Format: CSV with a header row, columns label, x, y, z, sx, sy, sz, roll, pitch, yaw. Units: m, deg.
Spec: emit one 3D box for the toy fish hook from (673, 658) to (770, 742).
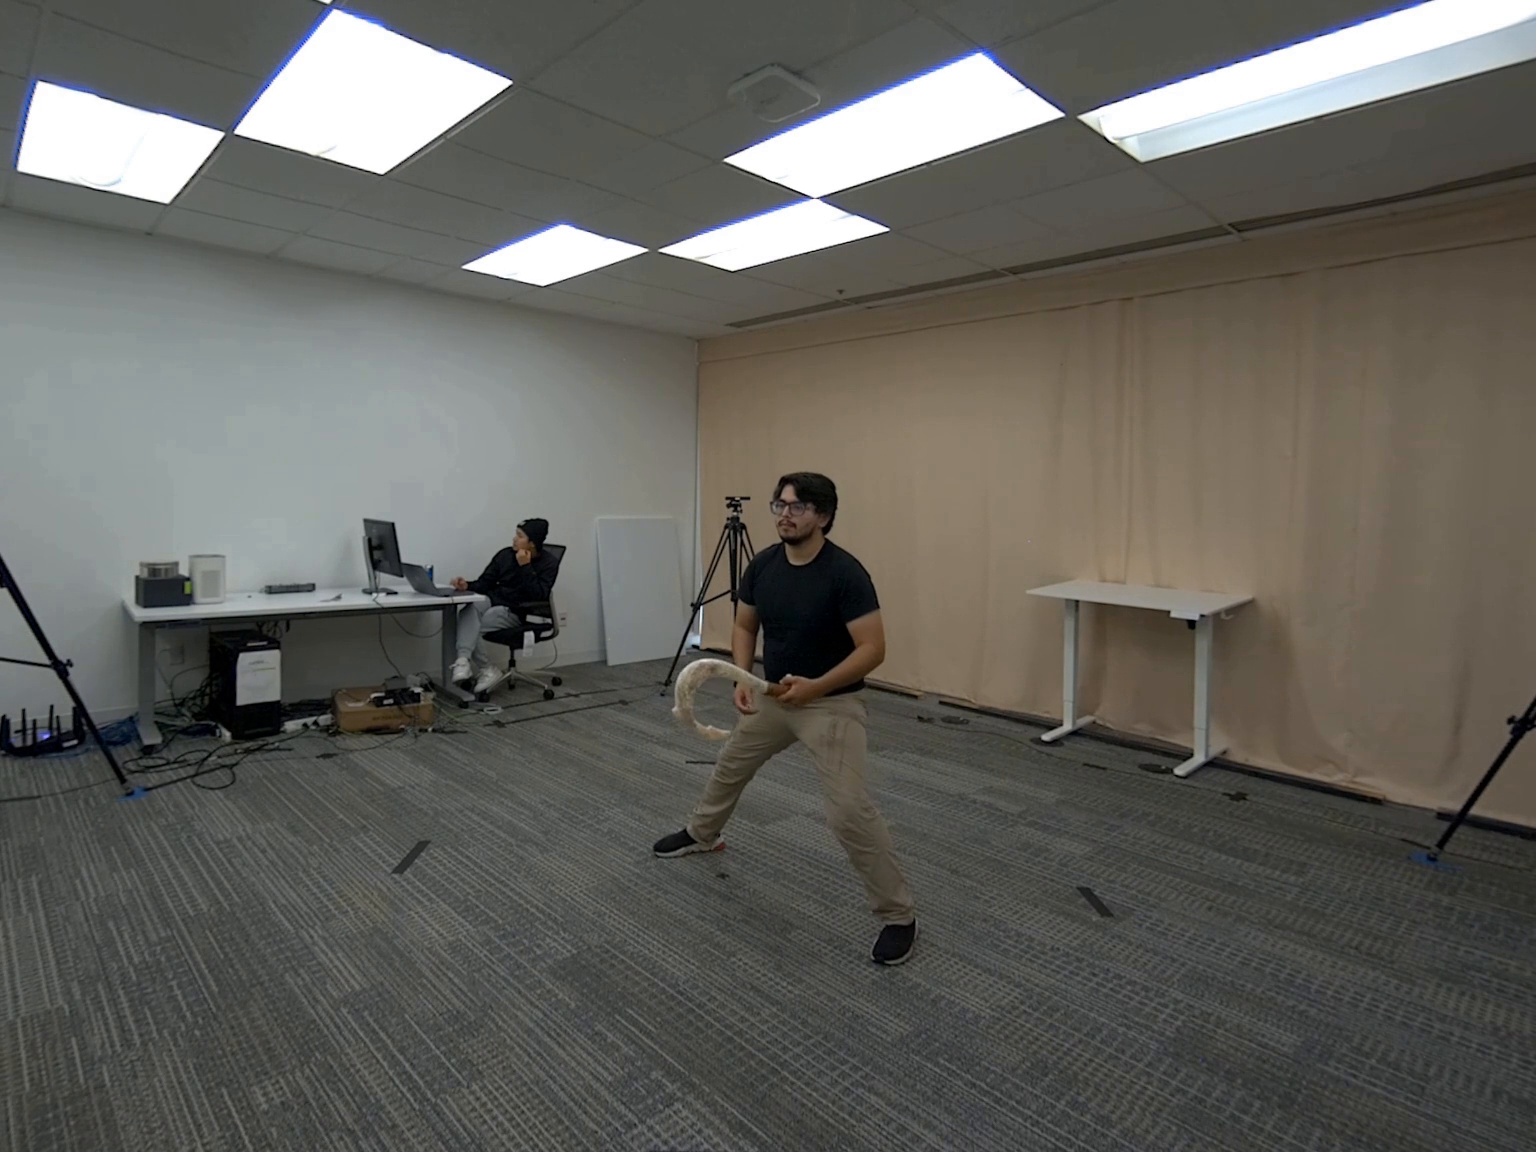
label,x,y,z,sx,sy,sz,roll,pitch,yaw
toy fish hook,-0.066,0.383,2.477,0.494,0.225,0.049,11,-4,-32
